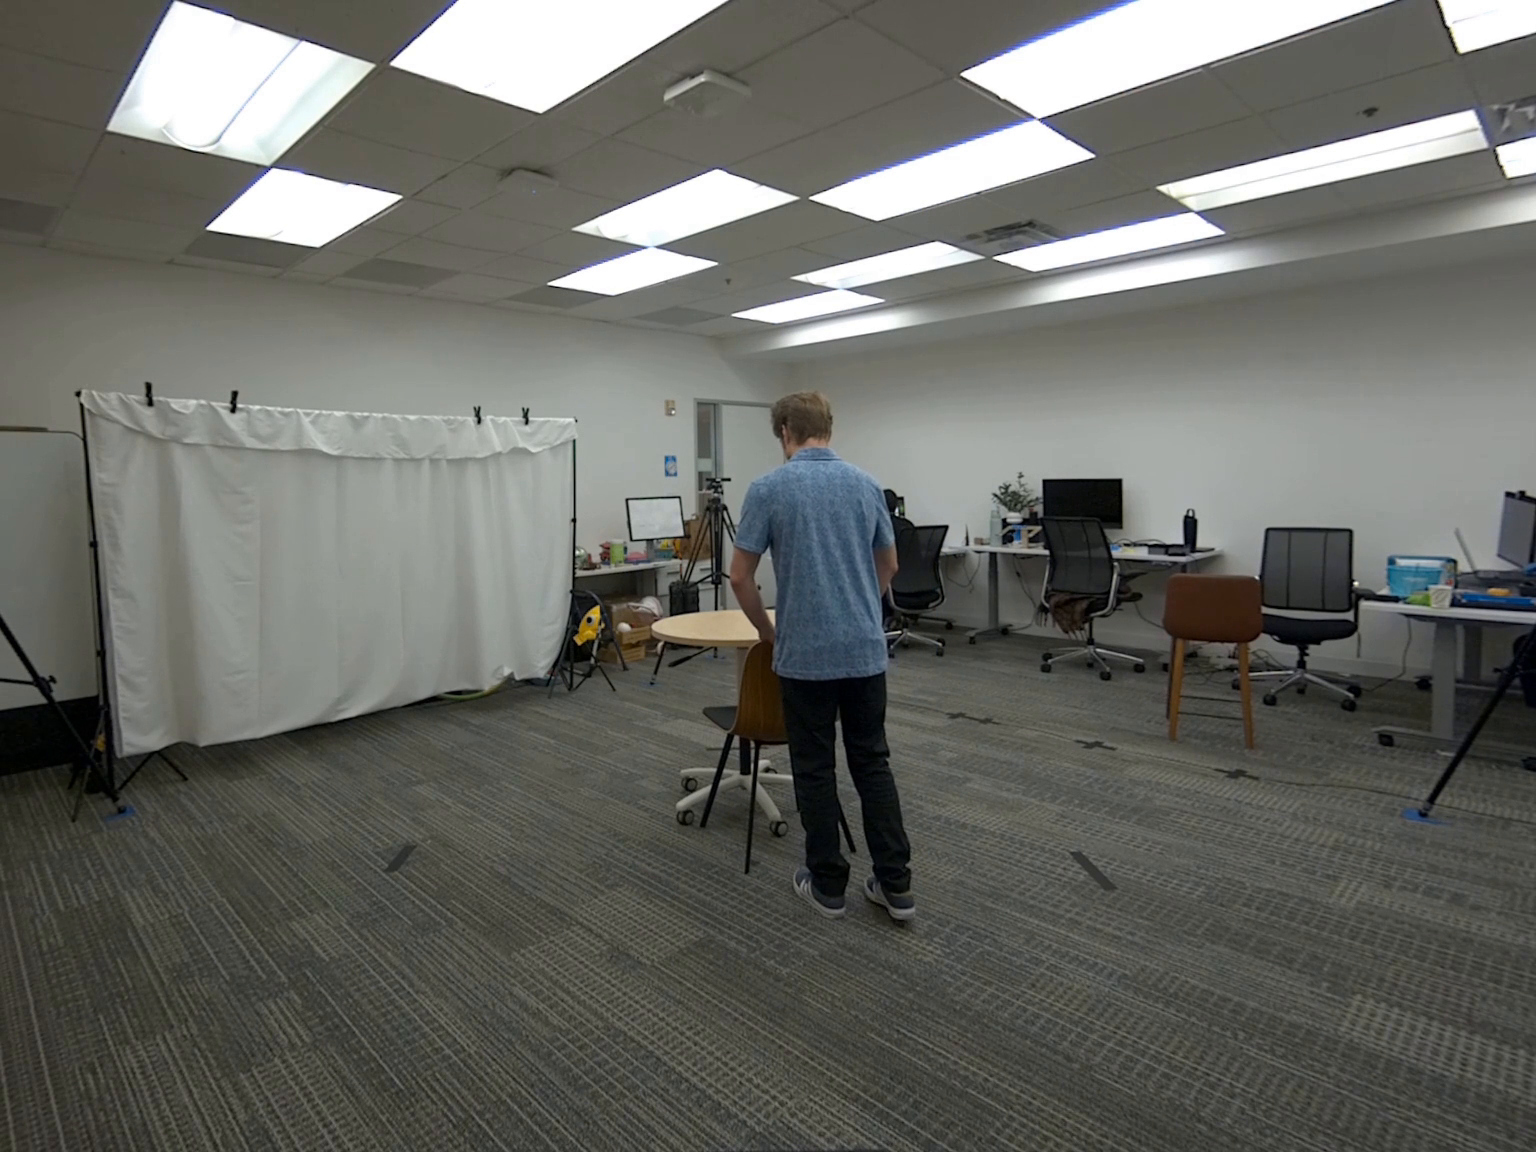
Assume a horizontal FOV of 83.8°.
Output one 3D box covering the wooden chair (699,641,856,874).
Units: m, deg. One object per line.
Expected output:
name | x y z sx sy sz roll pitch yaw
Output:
wooden chair | 0.024 0.594 3.275 0.468 0.871 0.537 -2 8 -24
